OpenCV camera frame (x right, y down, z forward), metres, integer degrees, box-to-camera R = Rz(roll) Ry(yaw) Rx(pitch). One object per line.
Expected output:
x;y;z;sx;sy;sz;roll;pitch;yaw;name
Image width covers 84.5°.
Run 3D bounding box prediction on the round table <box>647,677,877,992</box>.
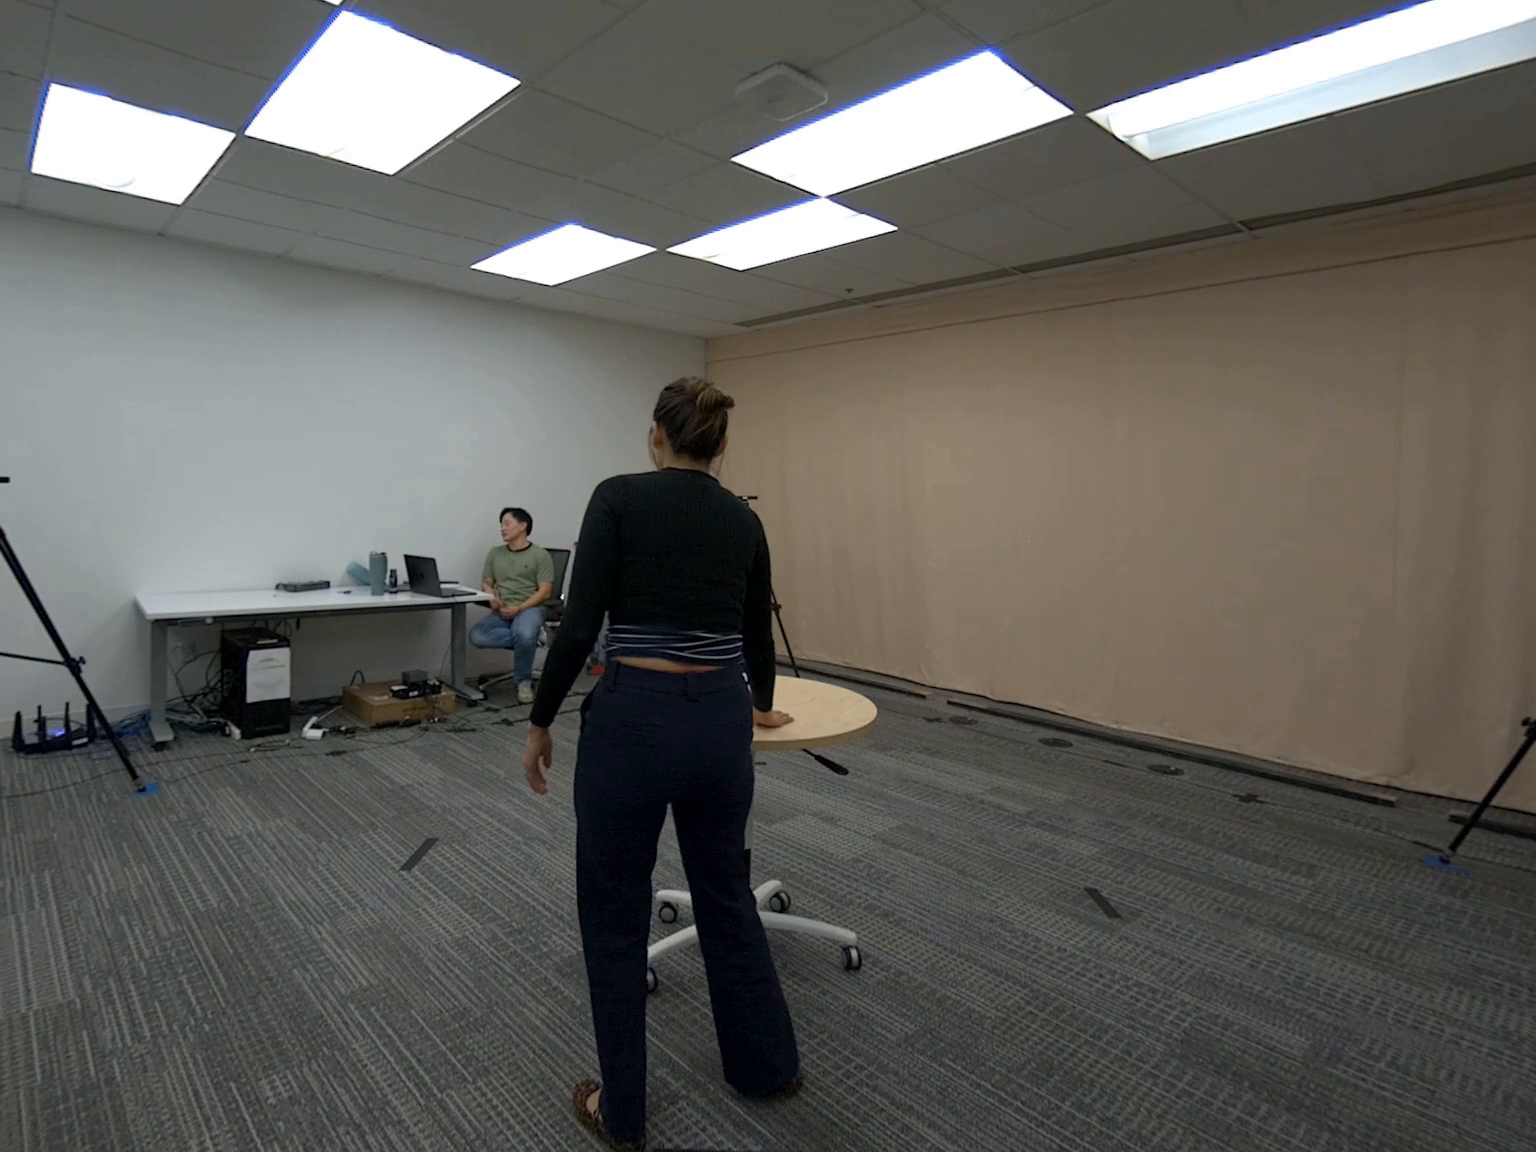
-0.081;0.771;2.528;0.763;0.791;0.767;1;5;-1;round table
